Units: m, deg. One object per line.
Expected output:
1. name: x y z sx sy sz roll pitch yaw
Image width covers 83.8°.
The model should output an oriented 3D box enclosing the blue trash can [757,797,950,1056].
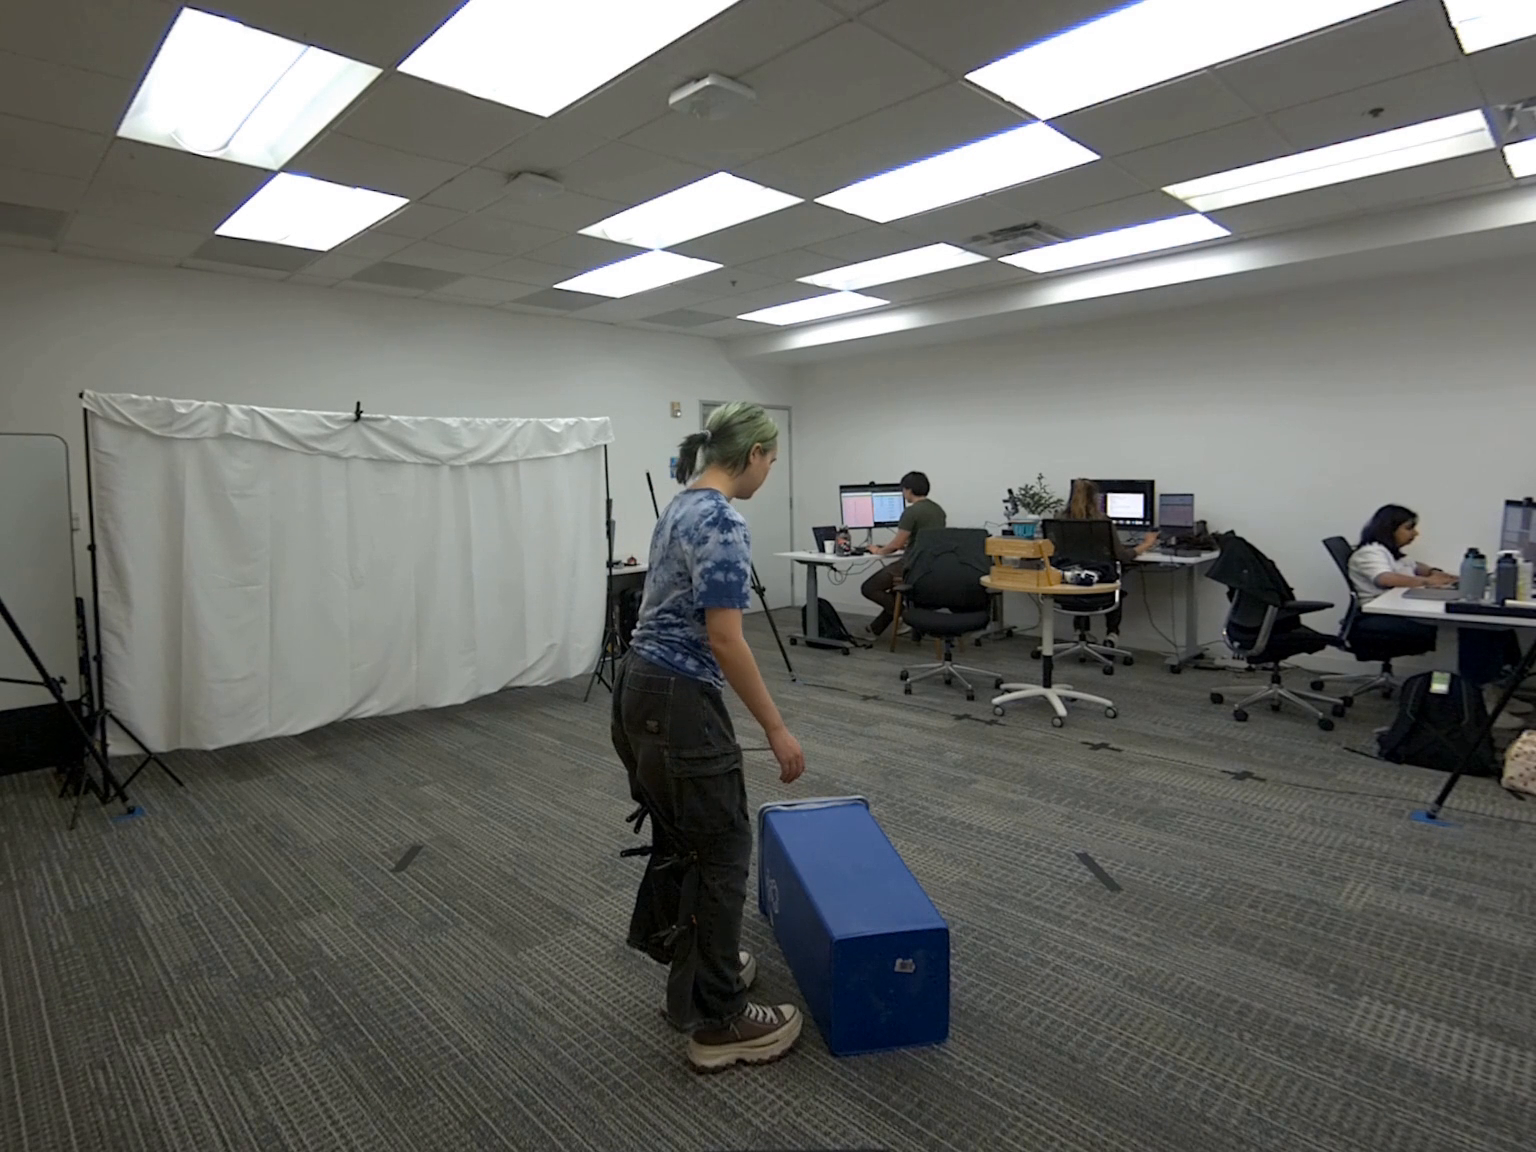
1. blue trash can: 0.230 0.945 2.422 0.374 0.372 0.725 -2 8 -12
